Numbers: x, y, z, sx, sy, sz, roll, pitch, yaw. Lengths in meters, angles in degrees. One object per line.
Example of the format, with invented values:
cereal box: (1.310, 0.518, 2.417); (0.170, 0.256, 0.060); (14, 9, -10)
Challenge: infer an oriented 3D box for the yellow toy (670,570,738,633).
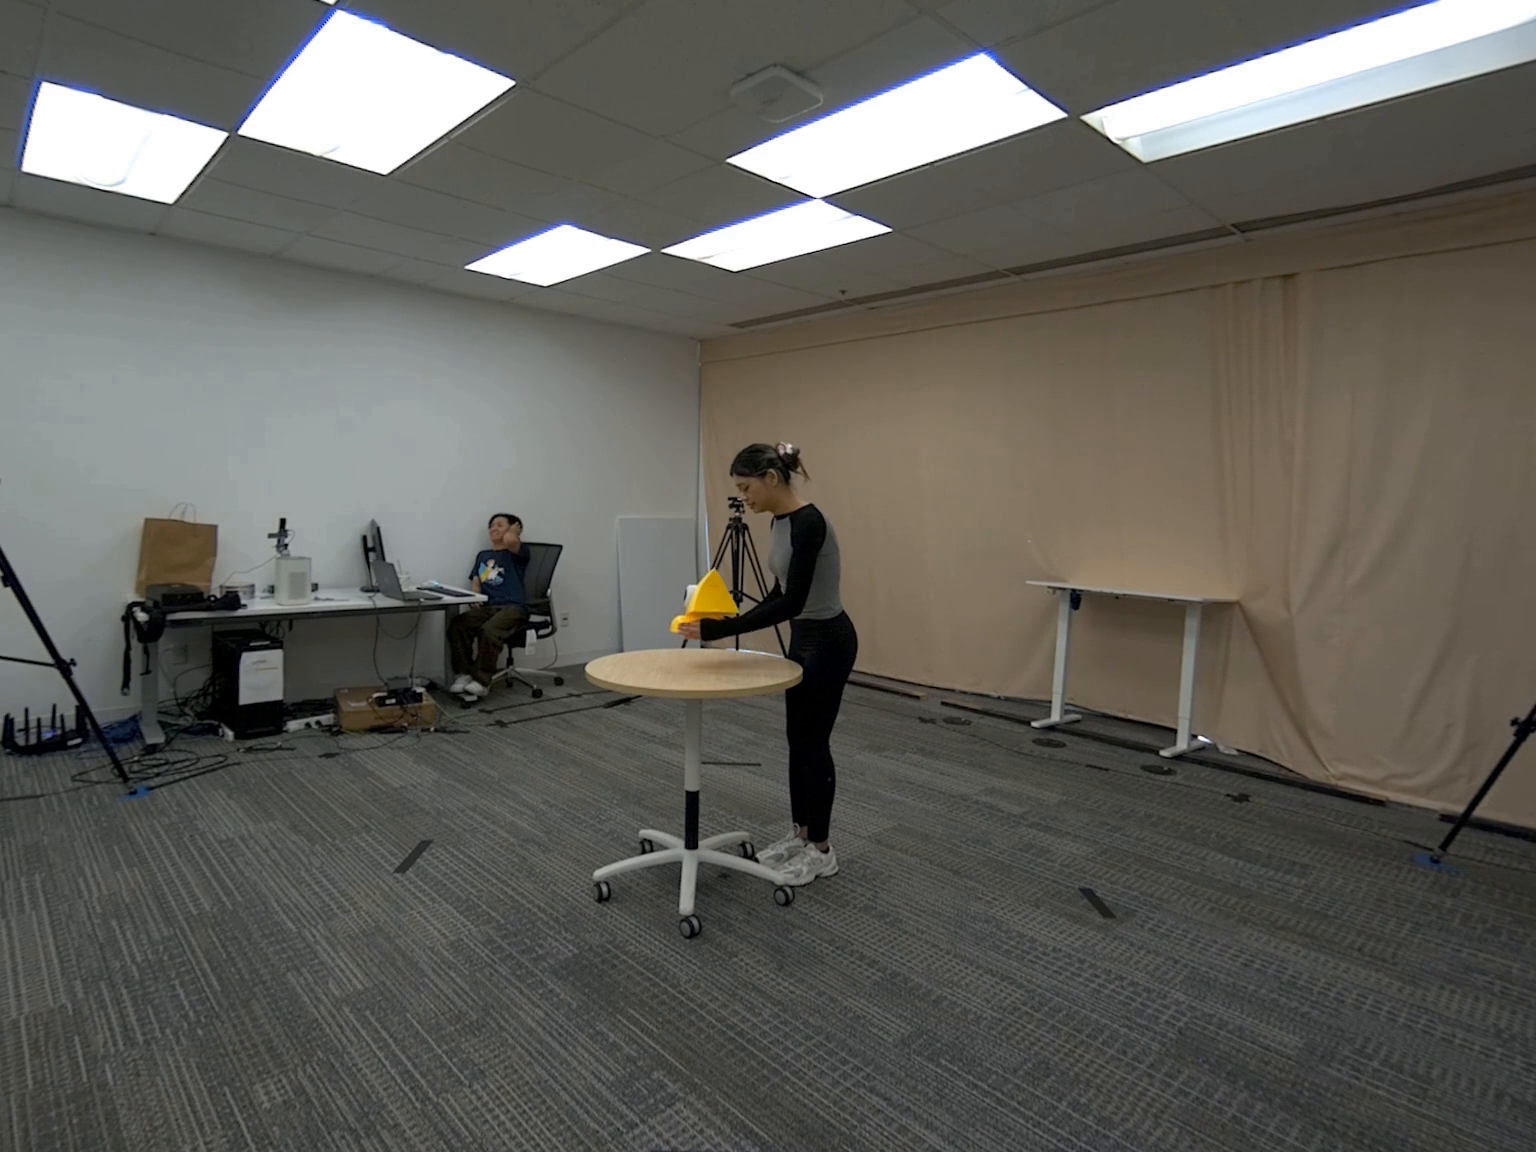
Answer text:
yellow toy: (-0.238, 0.084, 2.980); (0.200, 0.231, 0.198); (5, -2, -39)
